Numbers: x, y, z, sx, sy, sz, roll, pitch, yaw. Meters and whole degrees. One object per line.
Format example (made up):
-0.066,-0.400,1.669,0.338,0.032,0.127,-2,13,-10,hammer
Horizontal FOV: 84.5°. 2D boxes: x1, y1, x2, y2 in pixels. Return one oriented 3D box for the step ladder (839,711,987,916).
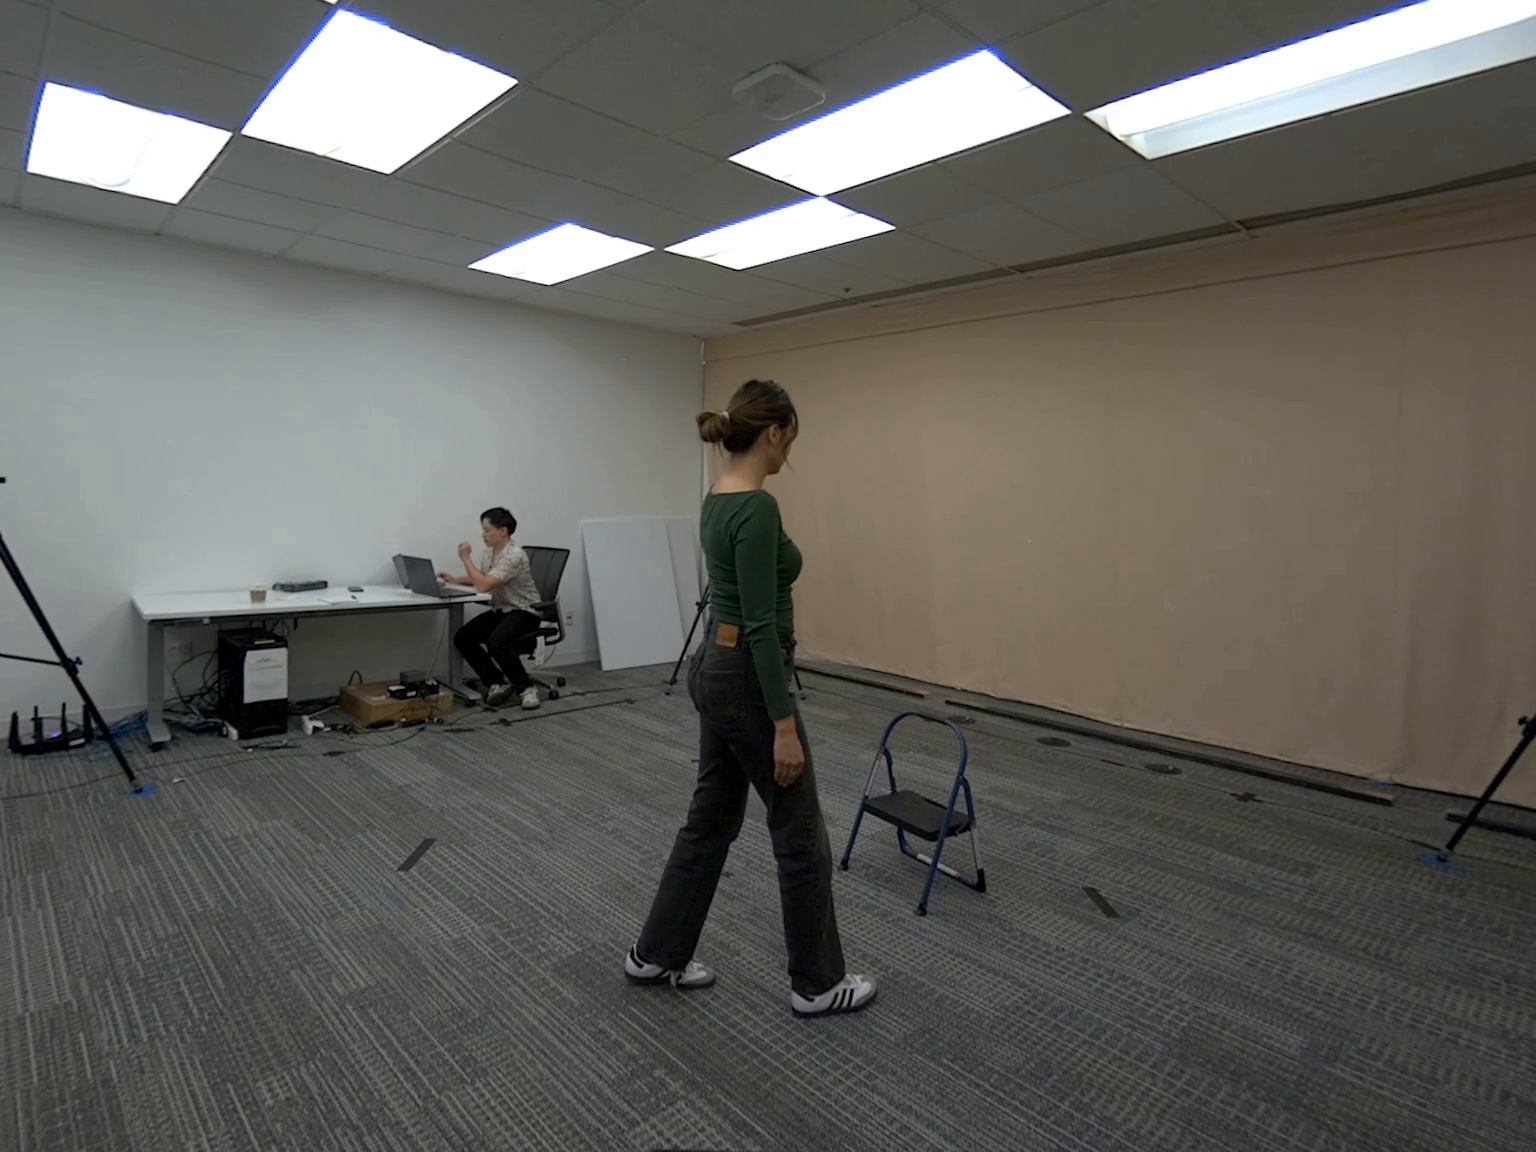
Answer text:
0.530,0.818,3.076,0.341,0.604,0.441,-1,5,-35,step ladder
